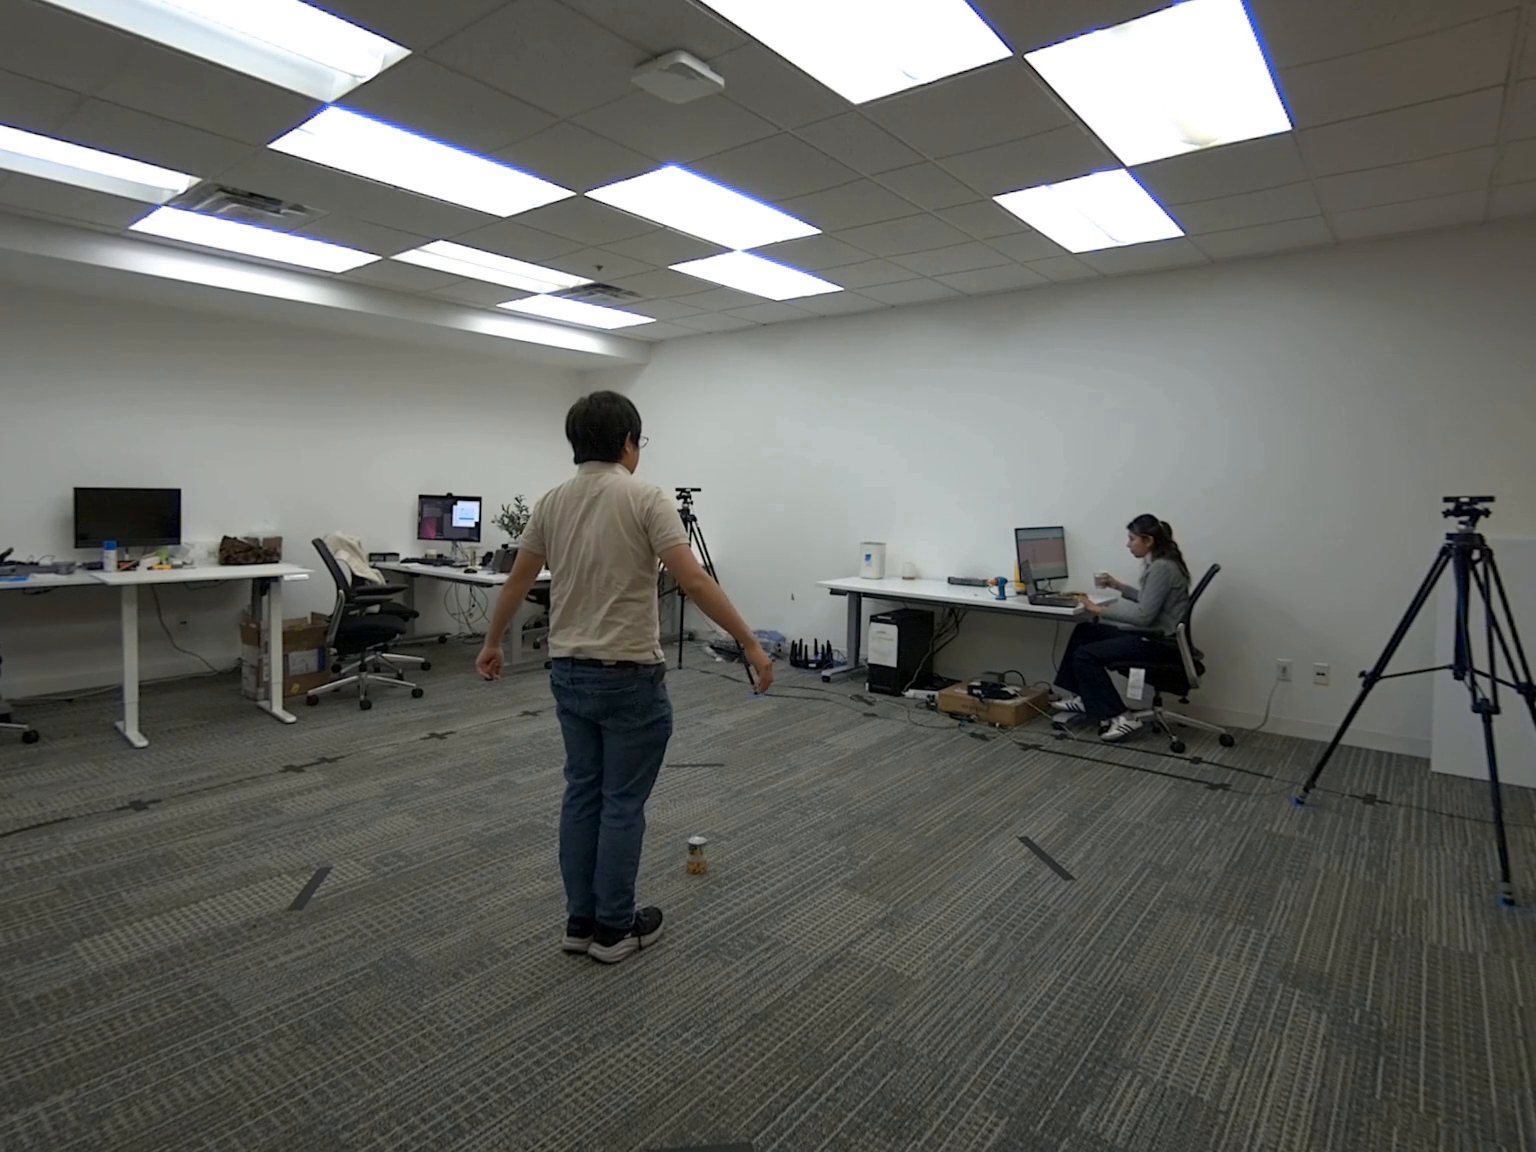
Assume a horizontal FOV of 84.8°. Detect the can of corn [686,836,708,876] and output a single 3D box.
[{"bbox_3d":[-0.272,1.013,3.101,0.074,0.111,0.074,1,0,-2],"label":"can of corn"}]
